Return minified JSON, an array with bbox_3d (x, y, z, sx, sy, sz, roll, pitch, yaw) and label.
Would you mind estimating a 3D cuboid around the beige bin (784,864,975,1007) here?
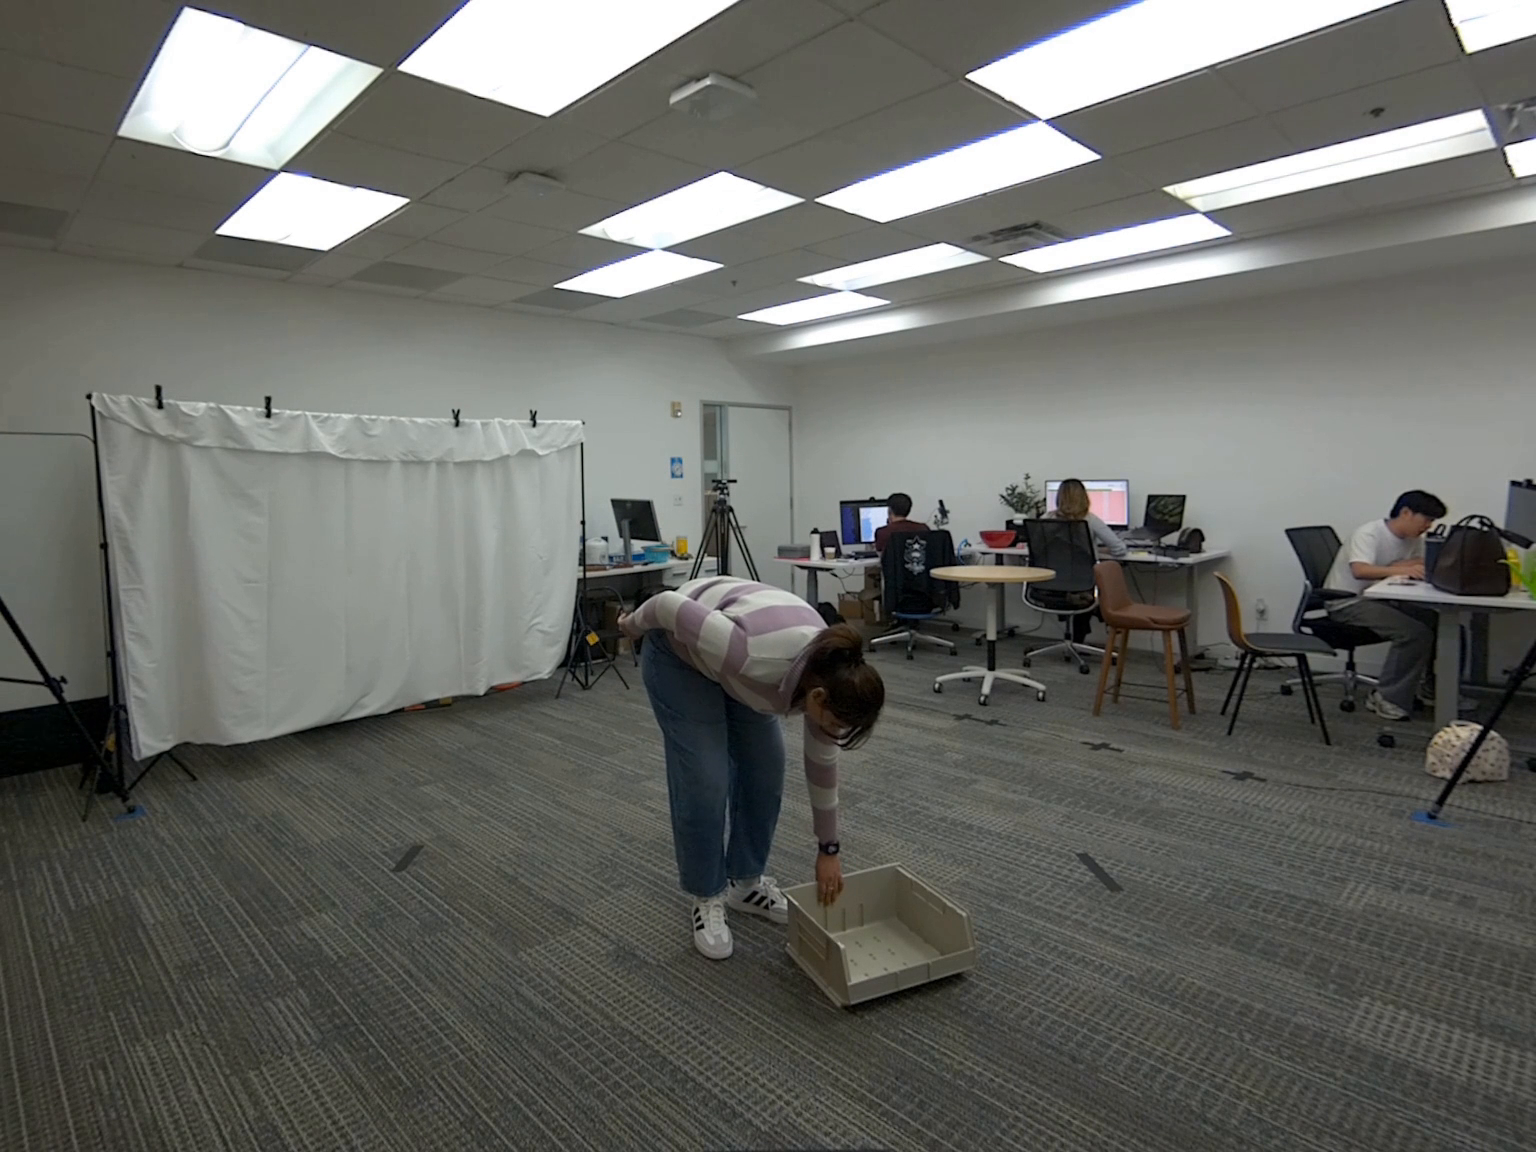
[{"bbox_3d":[0.311,1.024,2.454,0.414,0.188,0.386,-4,5,-25],"label":"beige bin"}]
